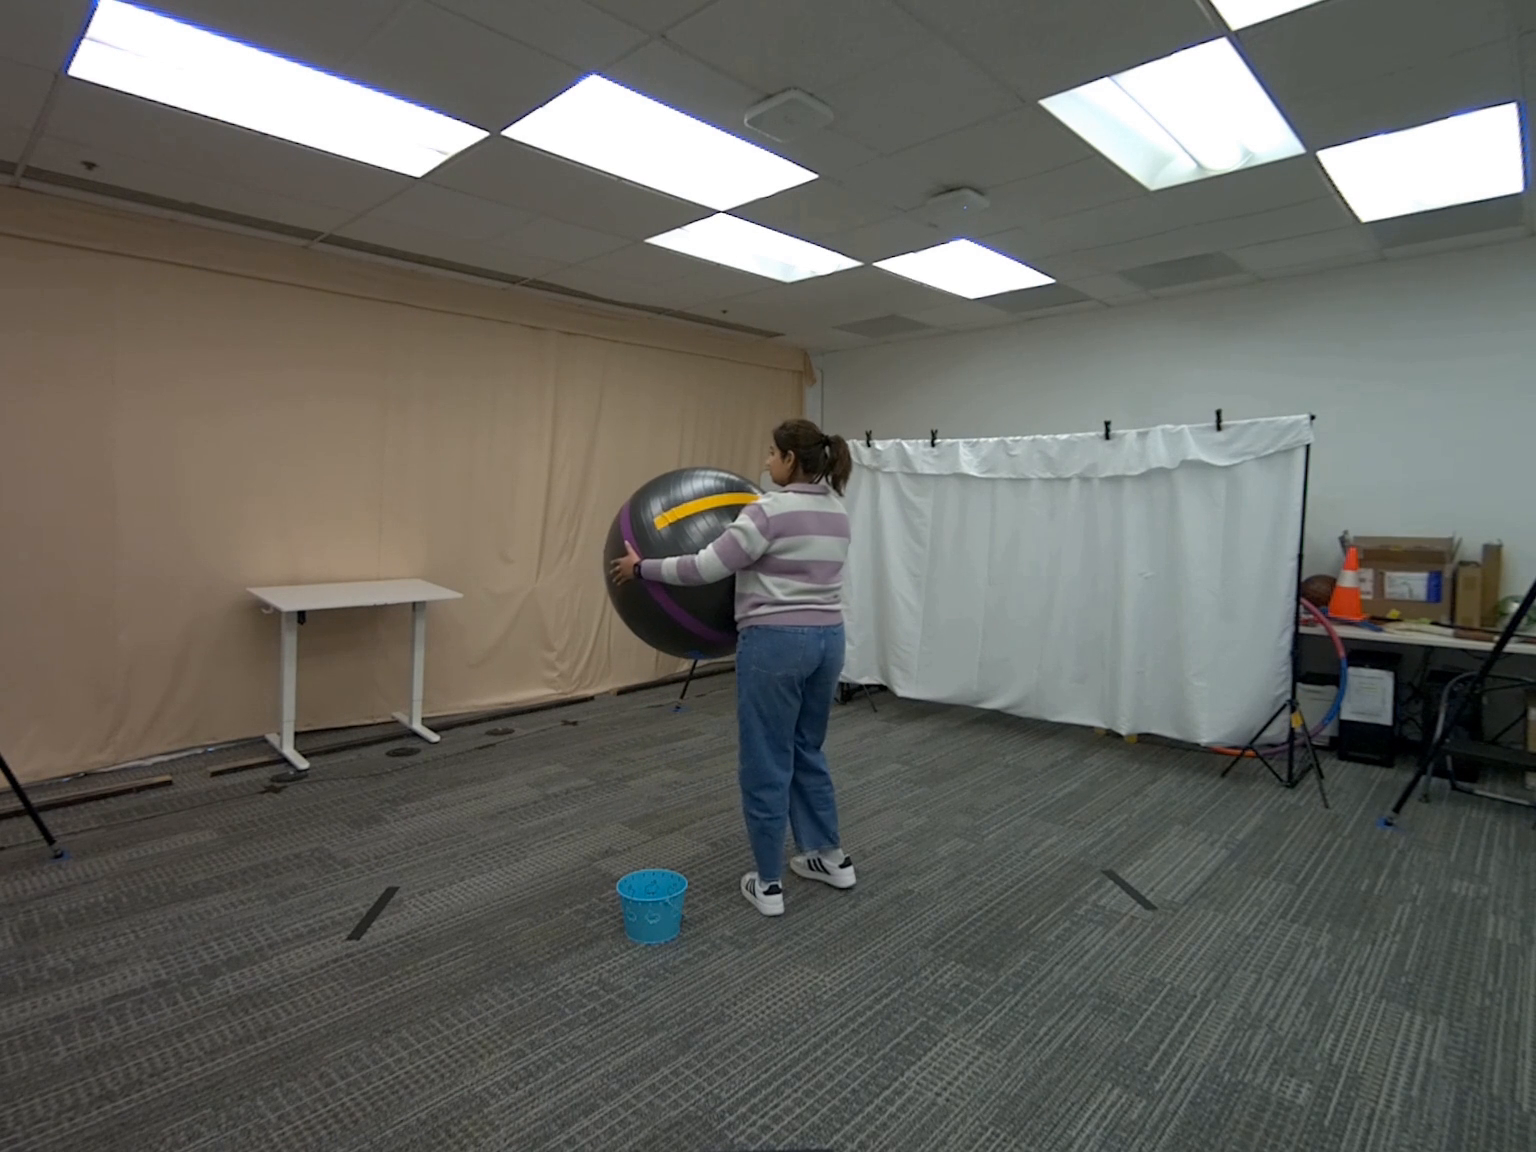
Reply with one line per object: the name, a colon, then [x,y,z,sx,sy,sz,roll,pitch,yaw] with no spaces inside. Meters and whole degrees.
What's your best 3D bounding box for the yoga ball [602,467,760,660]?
yoga ball: [-0.268,-0.045,3.335,0.757,0.756,0.761,0,4,-2]
